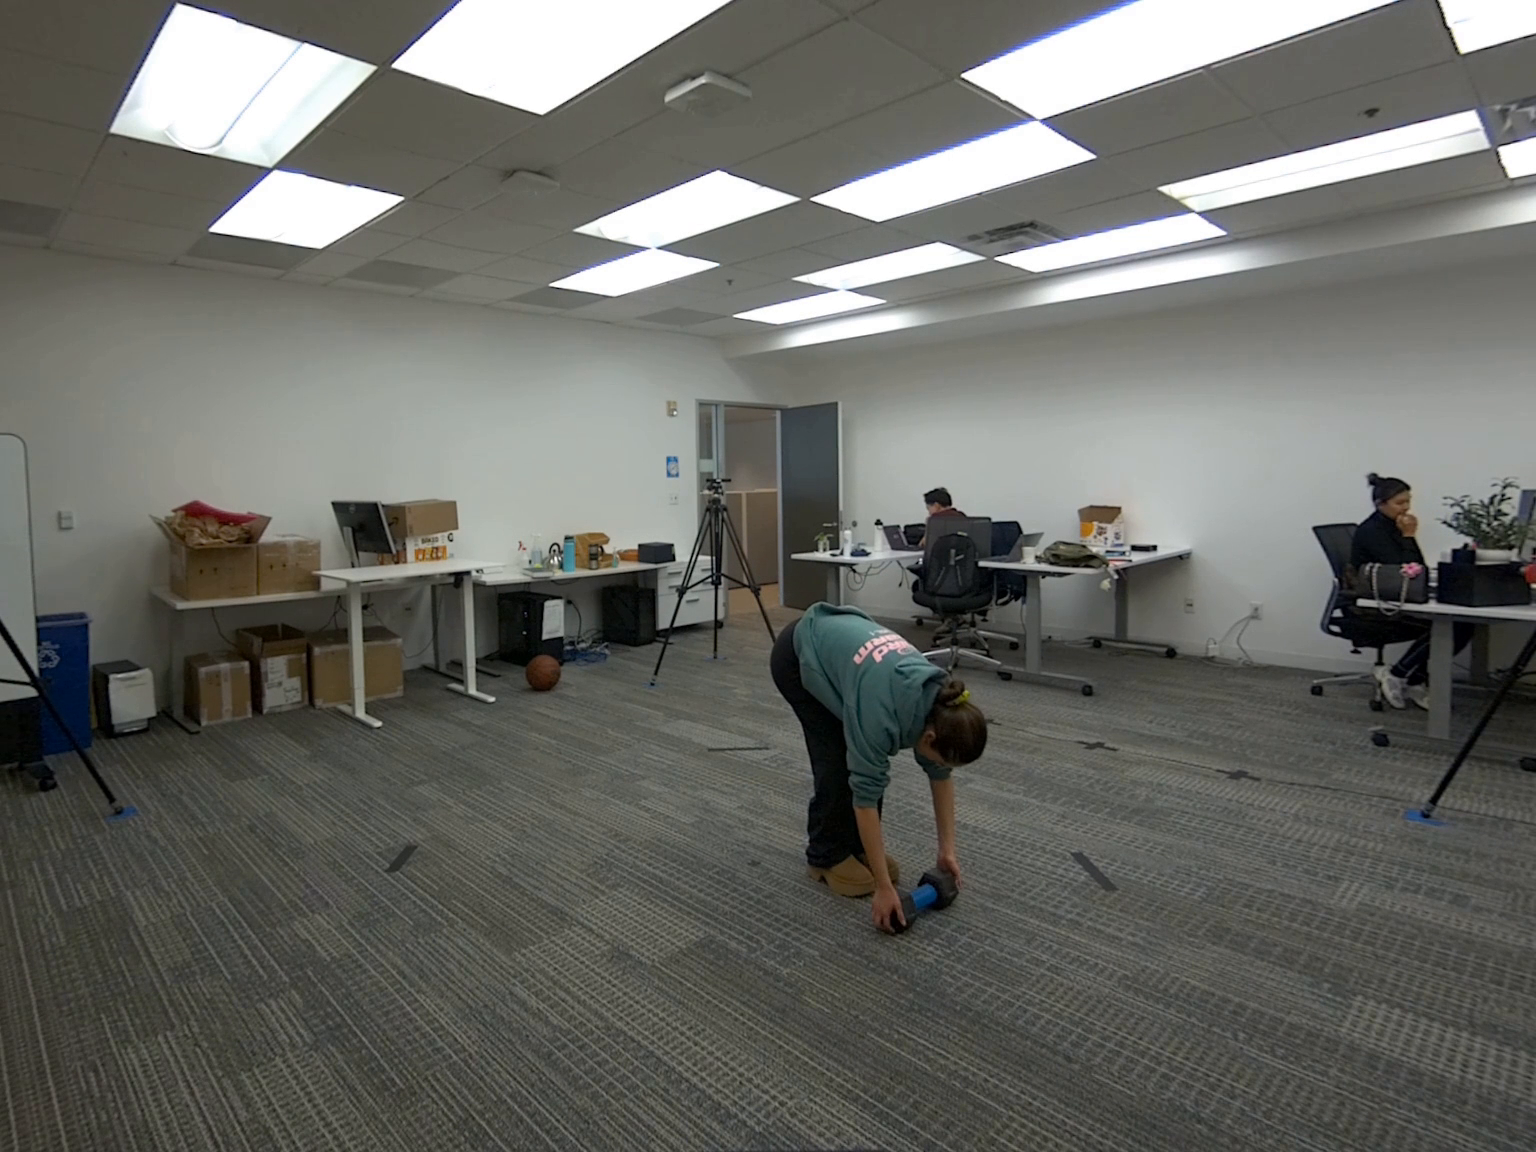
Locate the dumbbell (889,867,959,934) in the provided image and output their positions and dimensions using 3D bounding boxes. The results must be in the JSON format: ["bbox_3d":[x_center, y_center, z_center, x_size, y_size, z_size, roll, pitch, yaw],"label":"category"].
[{"bbox_3d":[0.485,1.031,2.708,0.286,0.121,0.113,-7,39,-42],"label":"dumbbell"}]
